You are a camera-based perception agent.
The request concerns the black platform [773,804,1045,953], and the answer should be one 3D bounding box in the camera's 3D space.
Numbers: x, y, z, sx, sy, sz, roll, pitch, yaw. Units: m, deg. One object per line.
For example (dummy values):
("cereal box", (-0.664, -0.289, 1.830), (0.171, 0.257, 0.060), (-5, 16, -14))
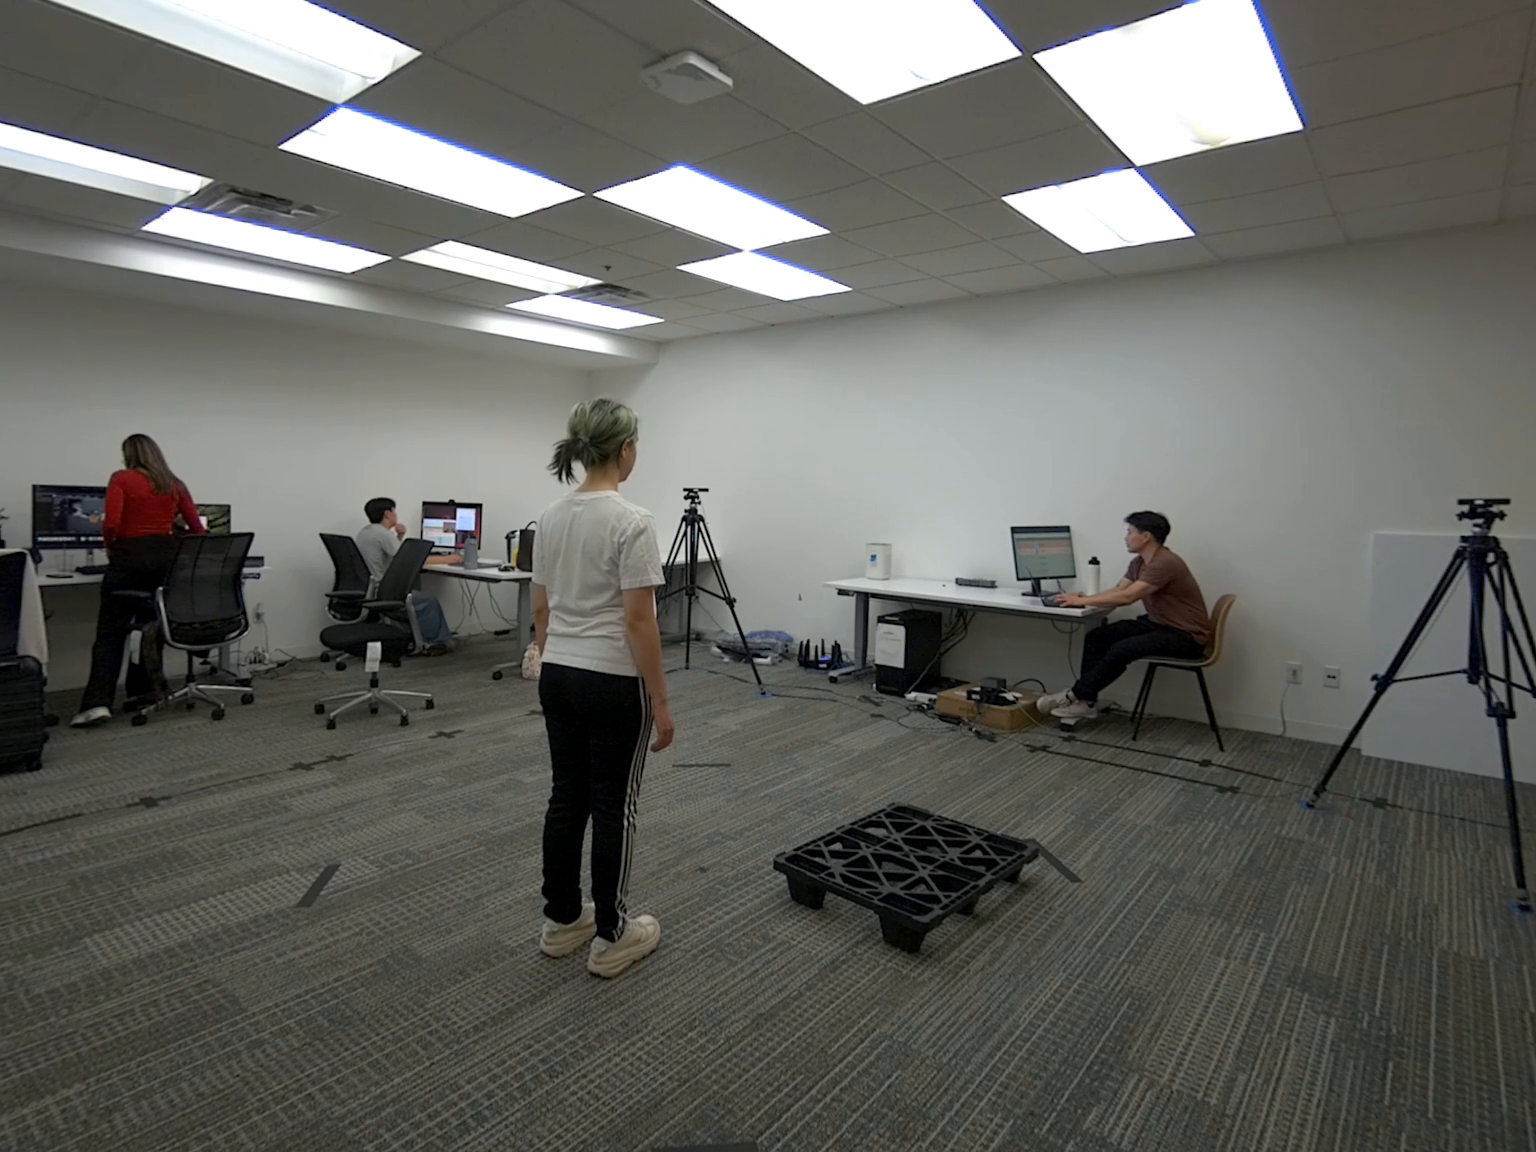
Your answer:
("black platform", (0.483, 1.030, 2.988), (0.626, 0.143, 0.781), (6, 7, 42))
